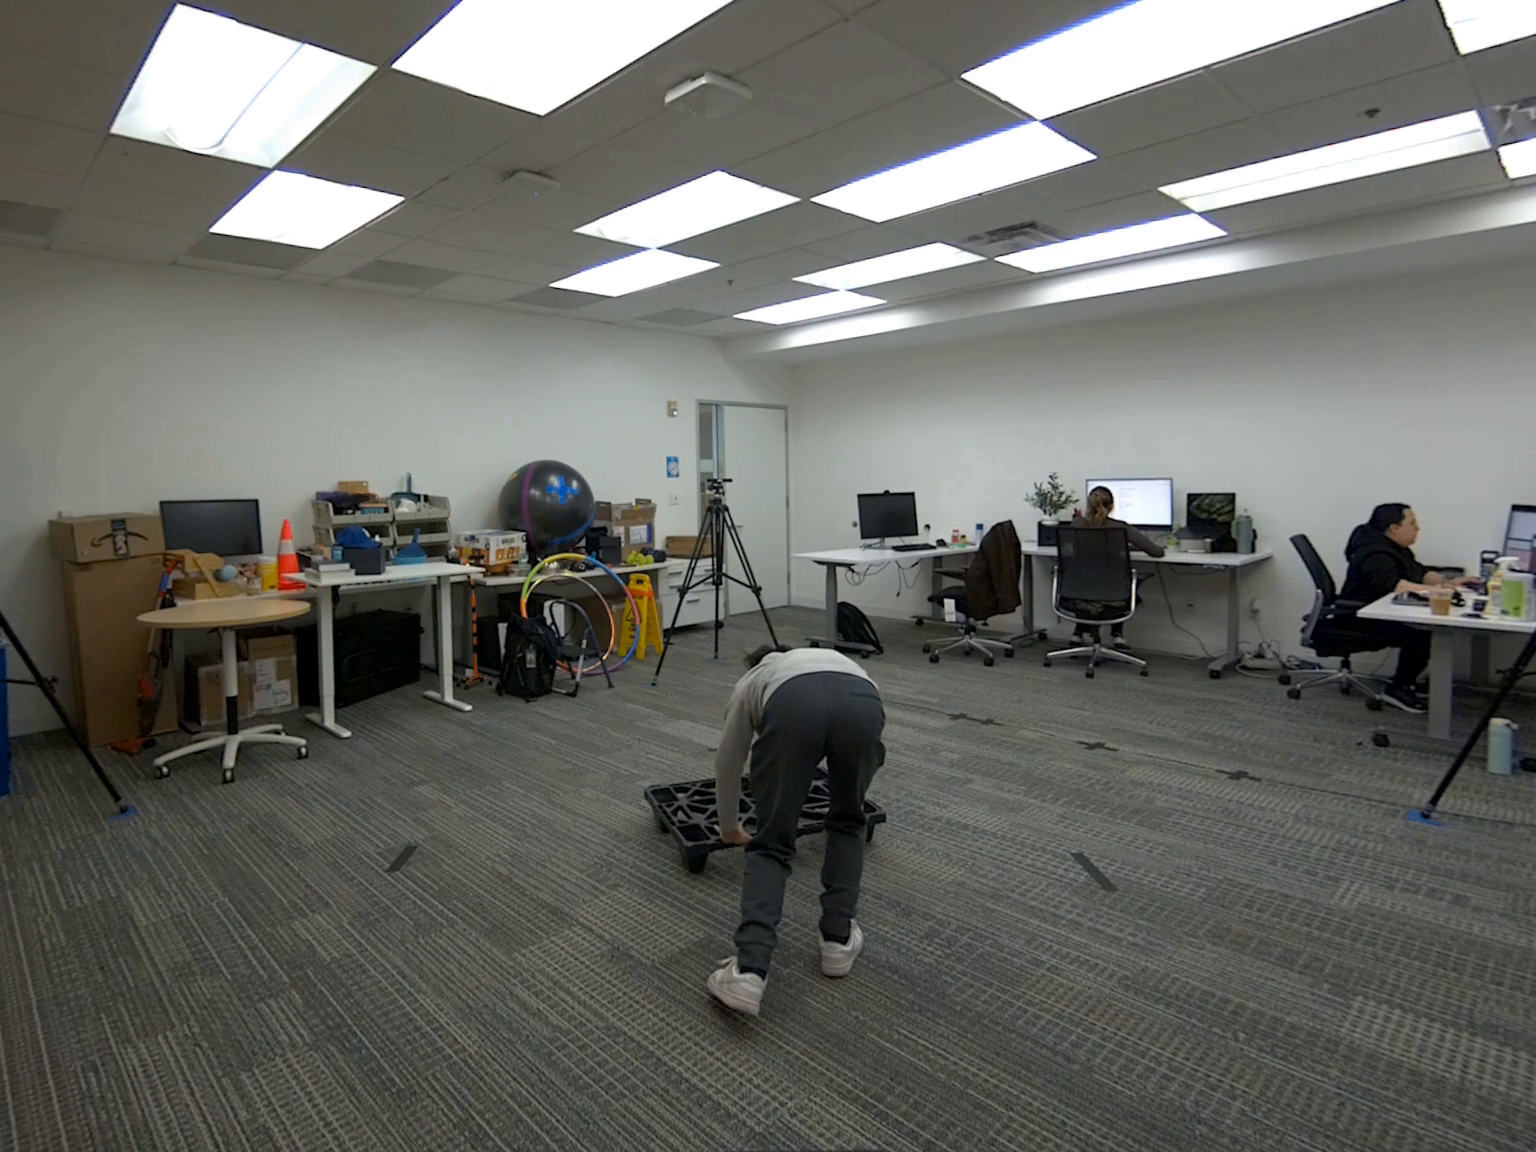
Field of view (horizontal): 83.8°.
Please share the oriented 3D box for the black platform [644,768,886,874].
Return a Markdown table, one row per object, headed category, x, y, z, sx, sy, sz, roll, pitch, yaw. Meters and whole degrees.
| category | x | y | z | sx | sy | sz | roll | pitch | yaw |
| --- | --- | --- | --- | --- | --- | --- | --- | --- | --- |
| black platform | -0.029 | 0.943 | 3.367 | 0.791 | 0.143 | 0.618 | -3 | 6 | -20 |
